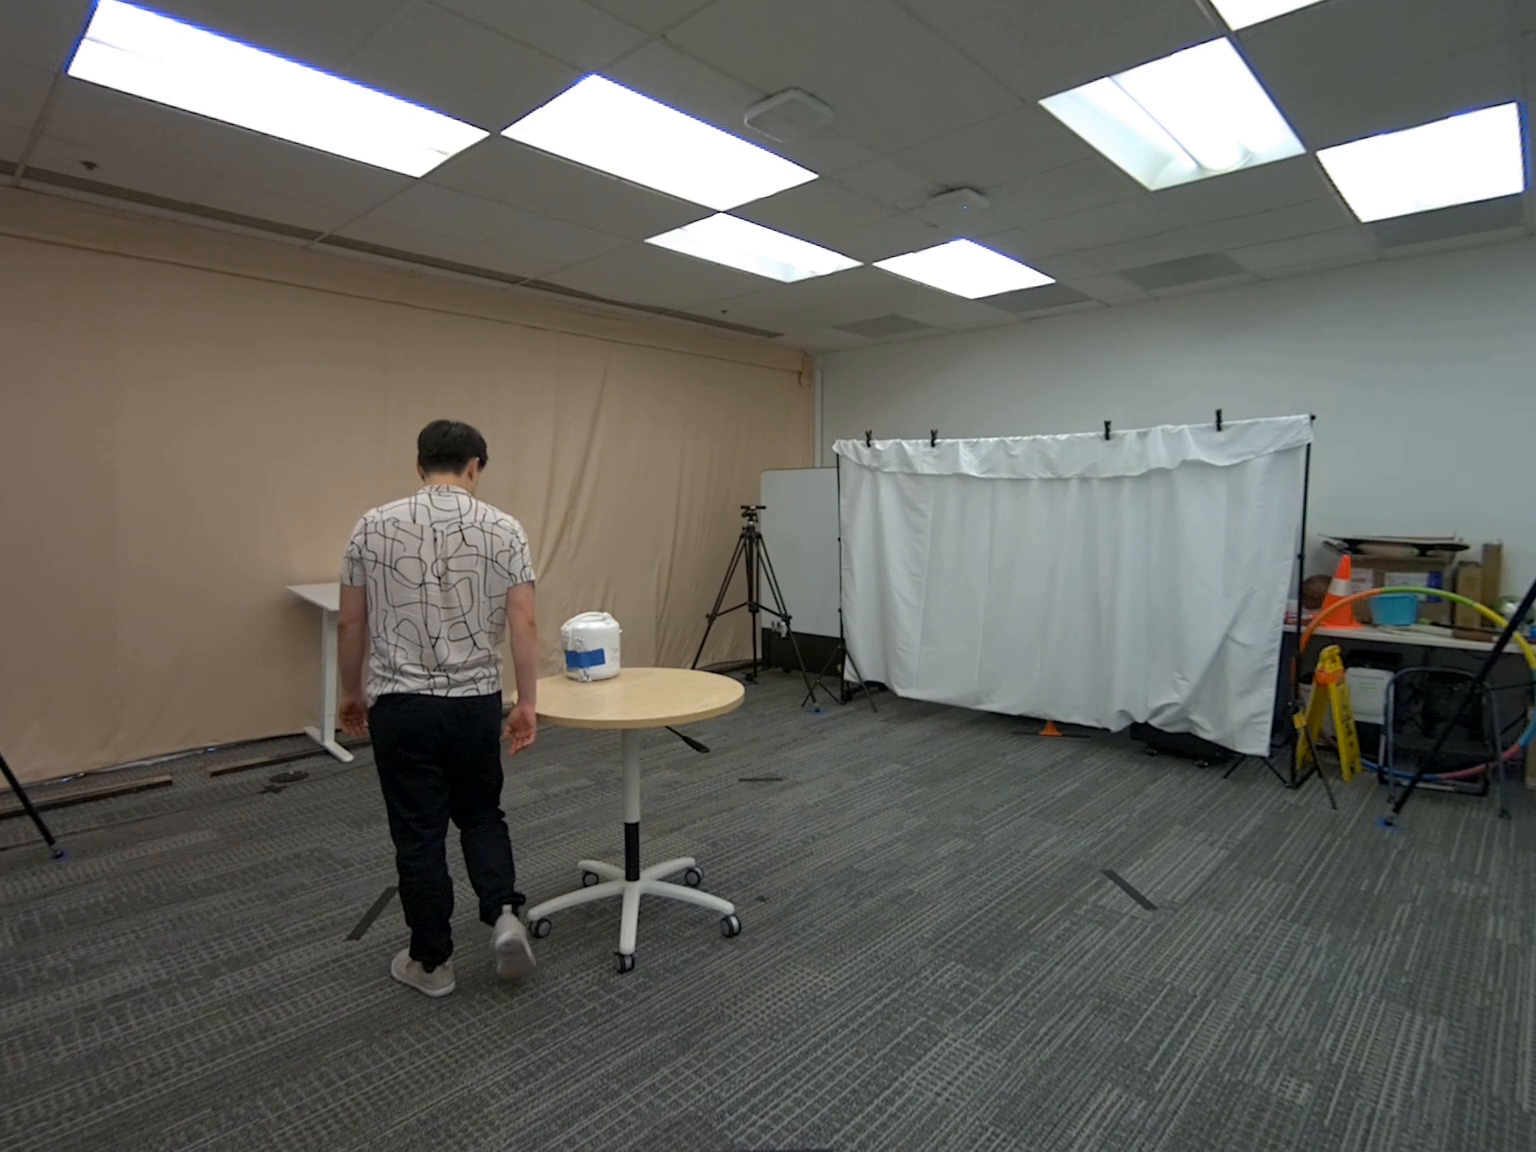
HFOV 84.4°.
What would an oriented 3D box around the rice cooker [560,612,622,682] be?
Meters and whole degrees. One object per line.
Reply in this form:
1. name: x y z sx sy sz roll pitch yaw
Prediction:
1. rice cooker: -0.638 0.246 3.023 0.214 0.232 0.224 -2 5 -38
